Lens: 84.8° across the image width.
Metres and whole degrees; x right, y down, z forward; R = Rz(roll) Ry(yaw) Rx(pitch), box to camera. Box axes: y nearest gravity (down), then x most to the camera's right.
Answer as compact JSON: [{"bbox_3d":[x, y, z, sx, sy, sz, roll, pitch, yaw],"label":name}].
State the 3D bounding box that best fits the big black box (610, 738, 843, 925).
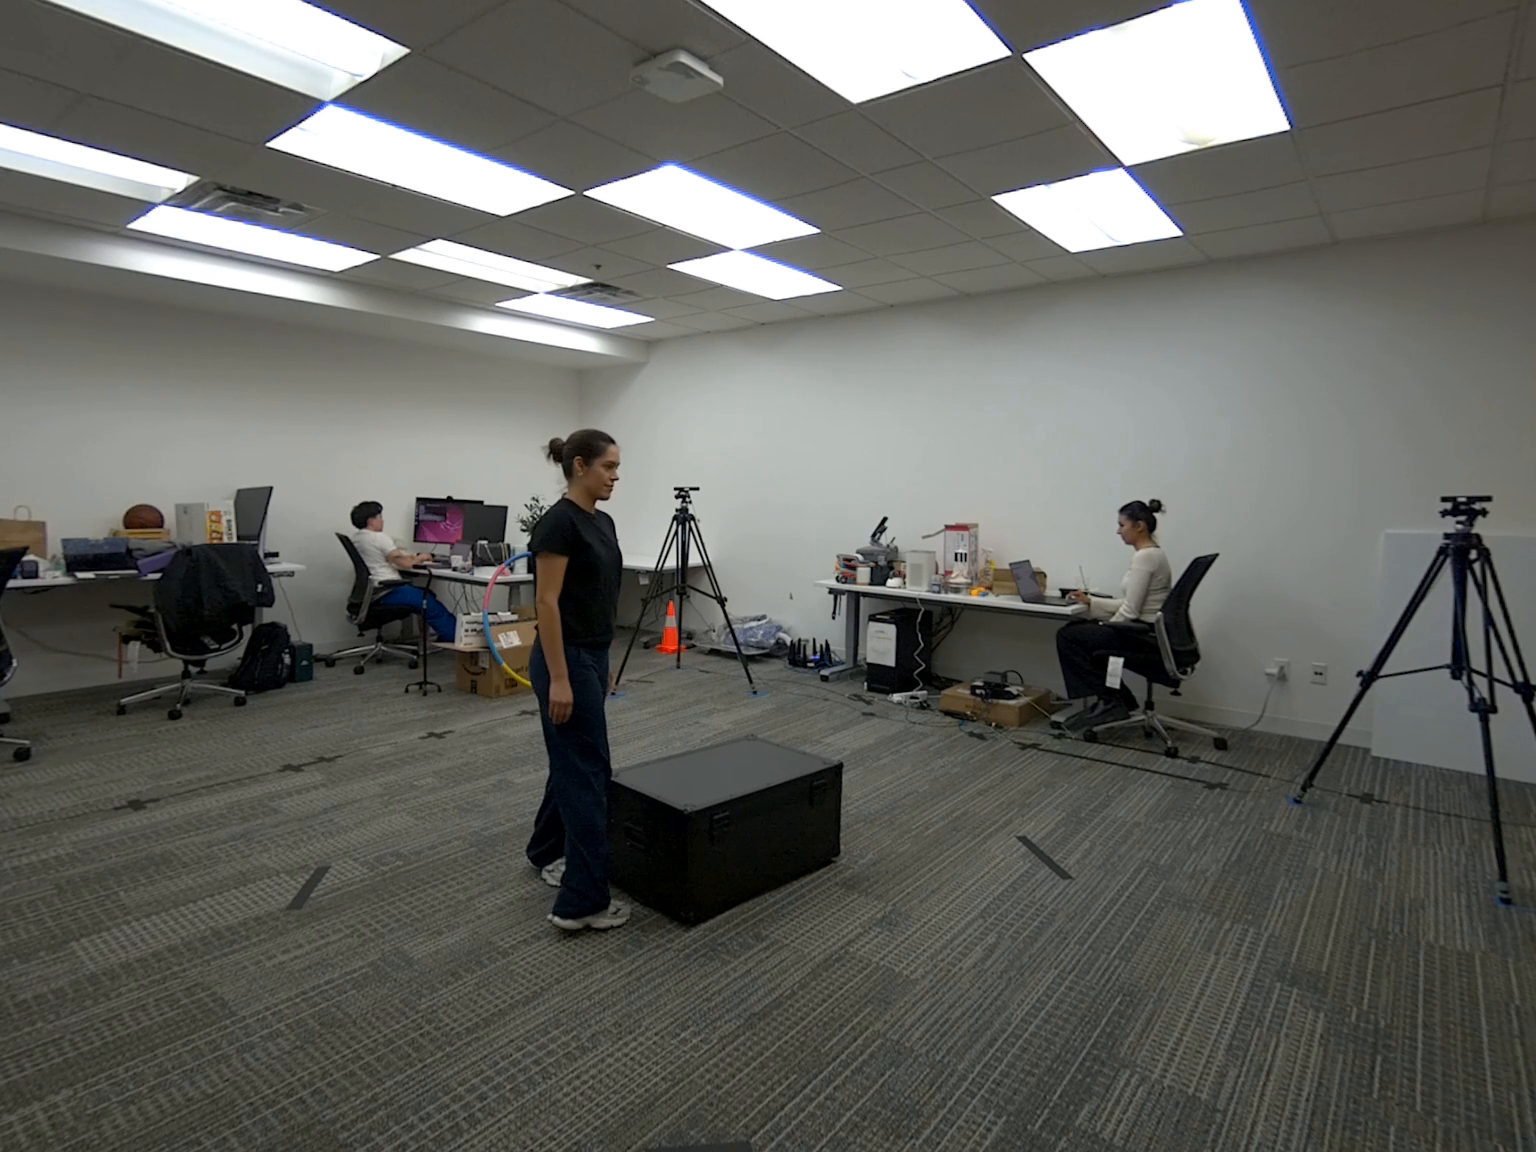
[{"bbox_3d":[-0.168,0.881,3.084,0.835,0.395,0.539,-3,6,-44],"label":"big black box"}]
